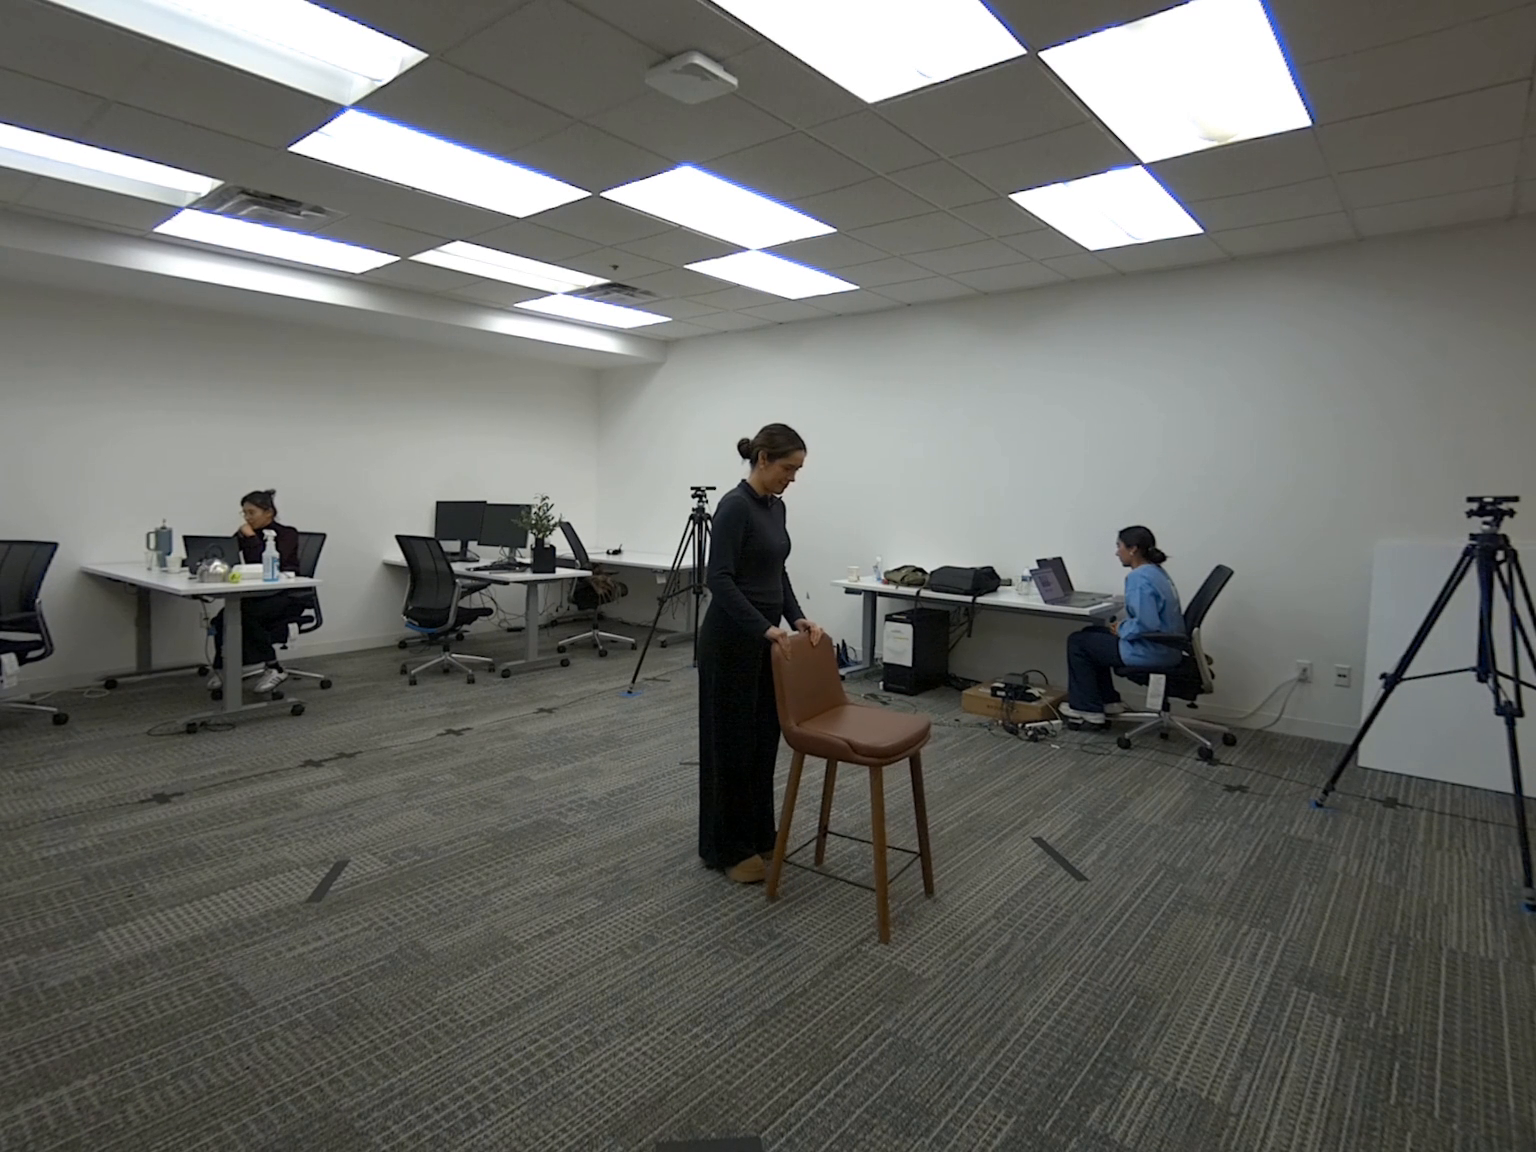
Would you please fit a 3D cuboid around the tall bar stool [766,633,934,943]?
[{"bbox_3d":[0.271,0.656,2.883,0.482,0.888,0.444,1,2,34],"label":"tall bar stool"}]
